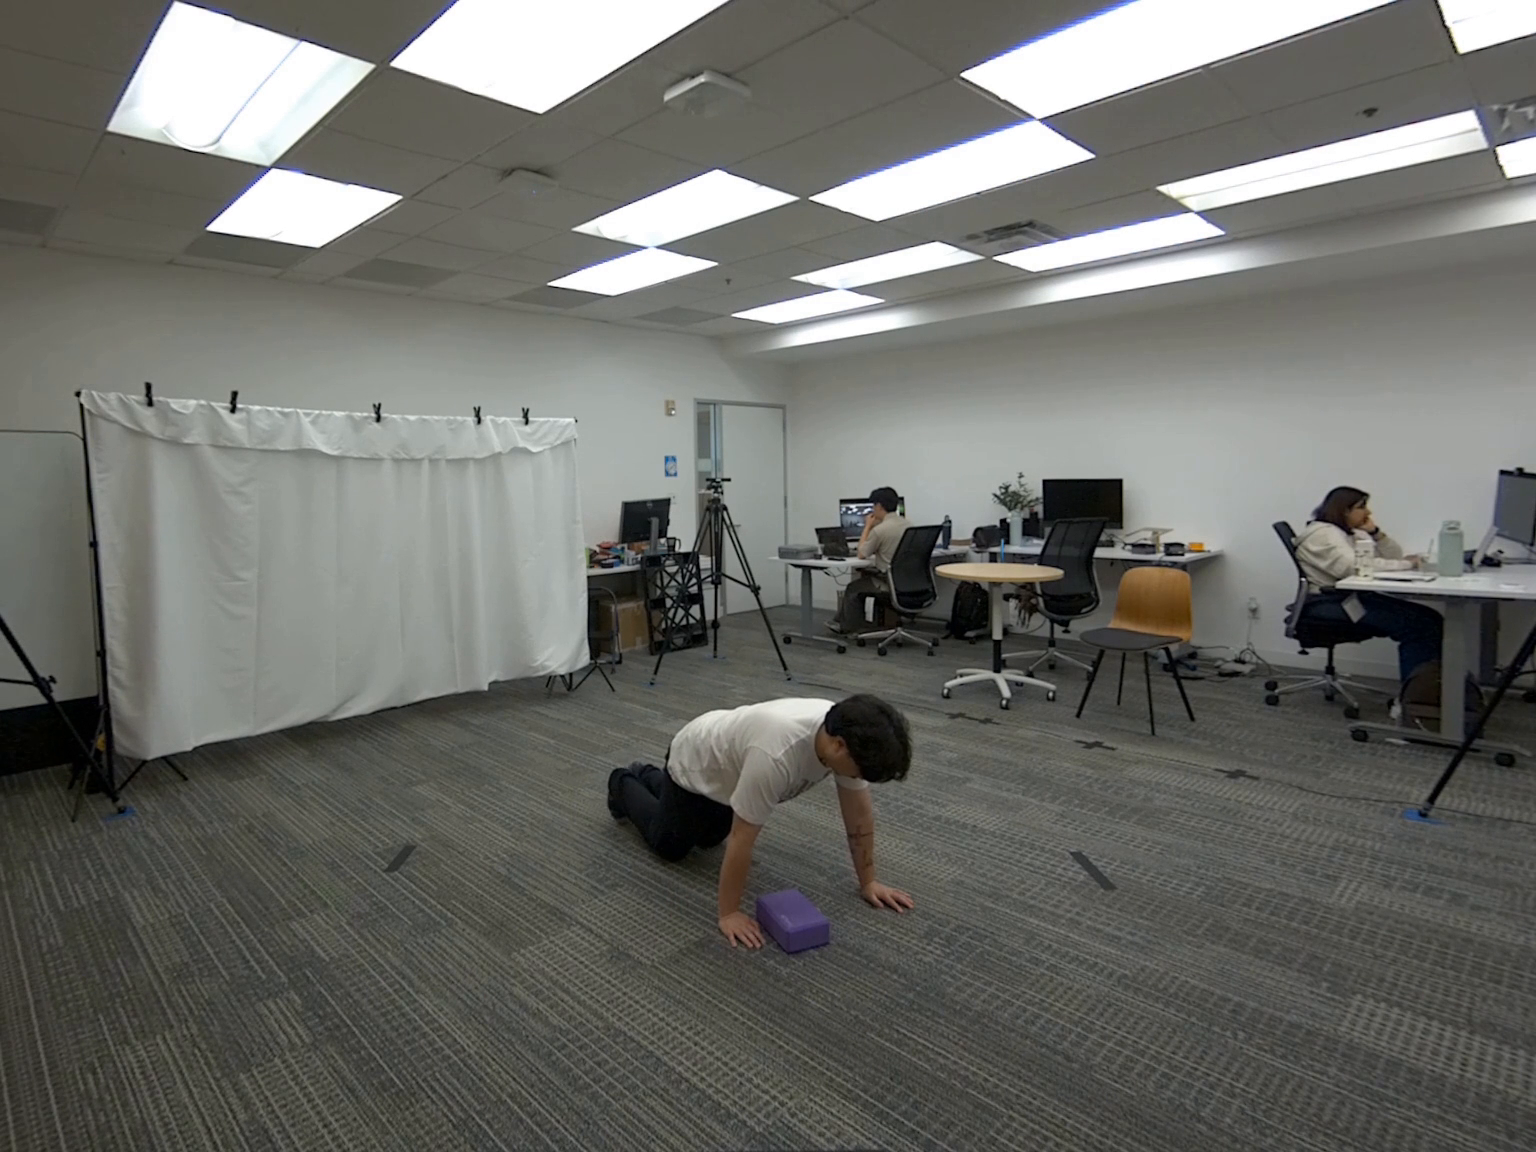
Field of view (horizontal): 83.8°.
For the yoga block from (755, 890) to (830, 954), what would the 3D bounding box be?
[{"bbox_3d":[0.078,1.051,2.633,0.146,0.076,0.235,-4,8,-24],"label":"yoga block"}]
